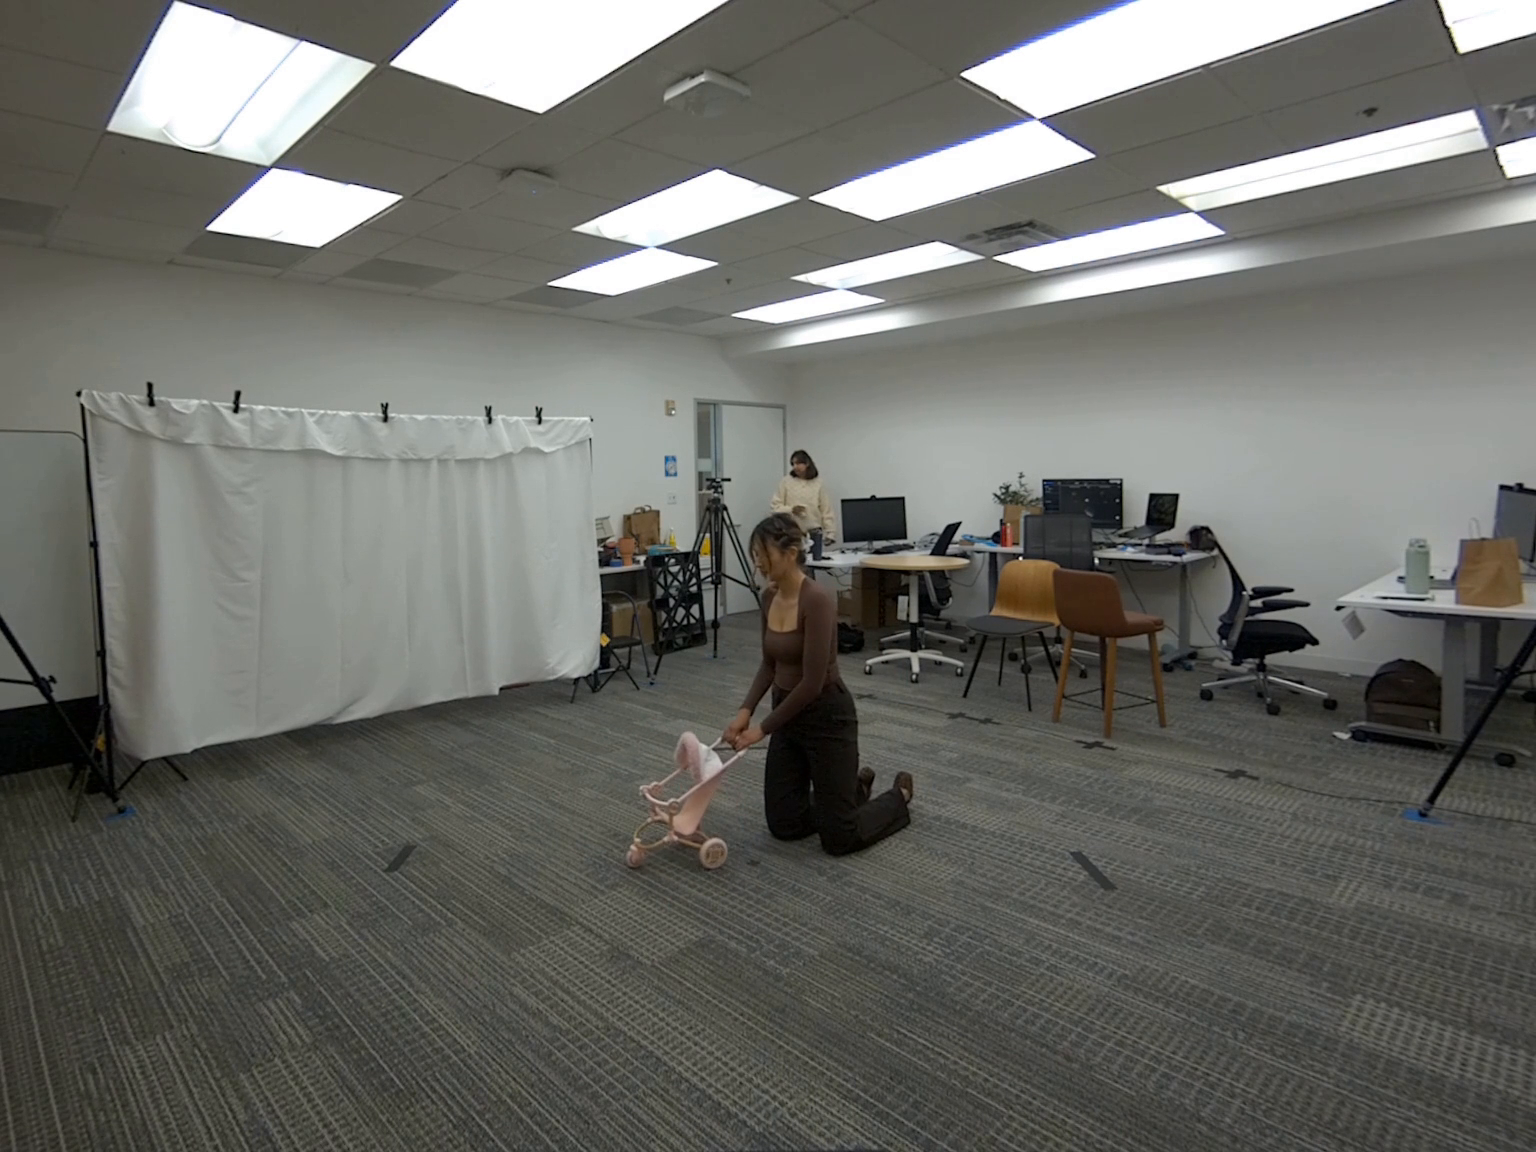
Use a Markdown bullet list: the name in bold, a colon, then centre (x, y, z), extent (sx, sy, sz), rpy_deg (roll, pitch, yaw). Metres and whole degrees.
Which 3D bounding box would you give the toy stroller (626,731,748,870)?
- **toy stroller**: centre (-0.305, 0.817, 3.145), extent (0.334, 0.536, 0.287), rpy_deg (16, -2, -20)
